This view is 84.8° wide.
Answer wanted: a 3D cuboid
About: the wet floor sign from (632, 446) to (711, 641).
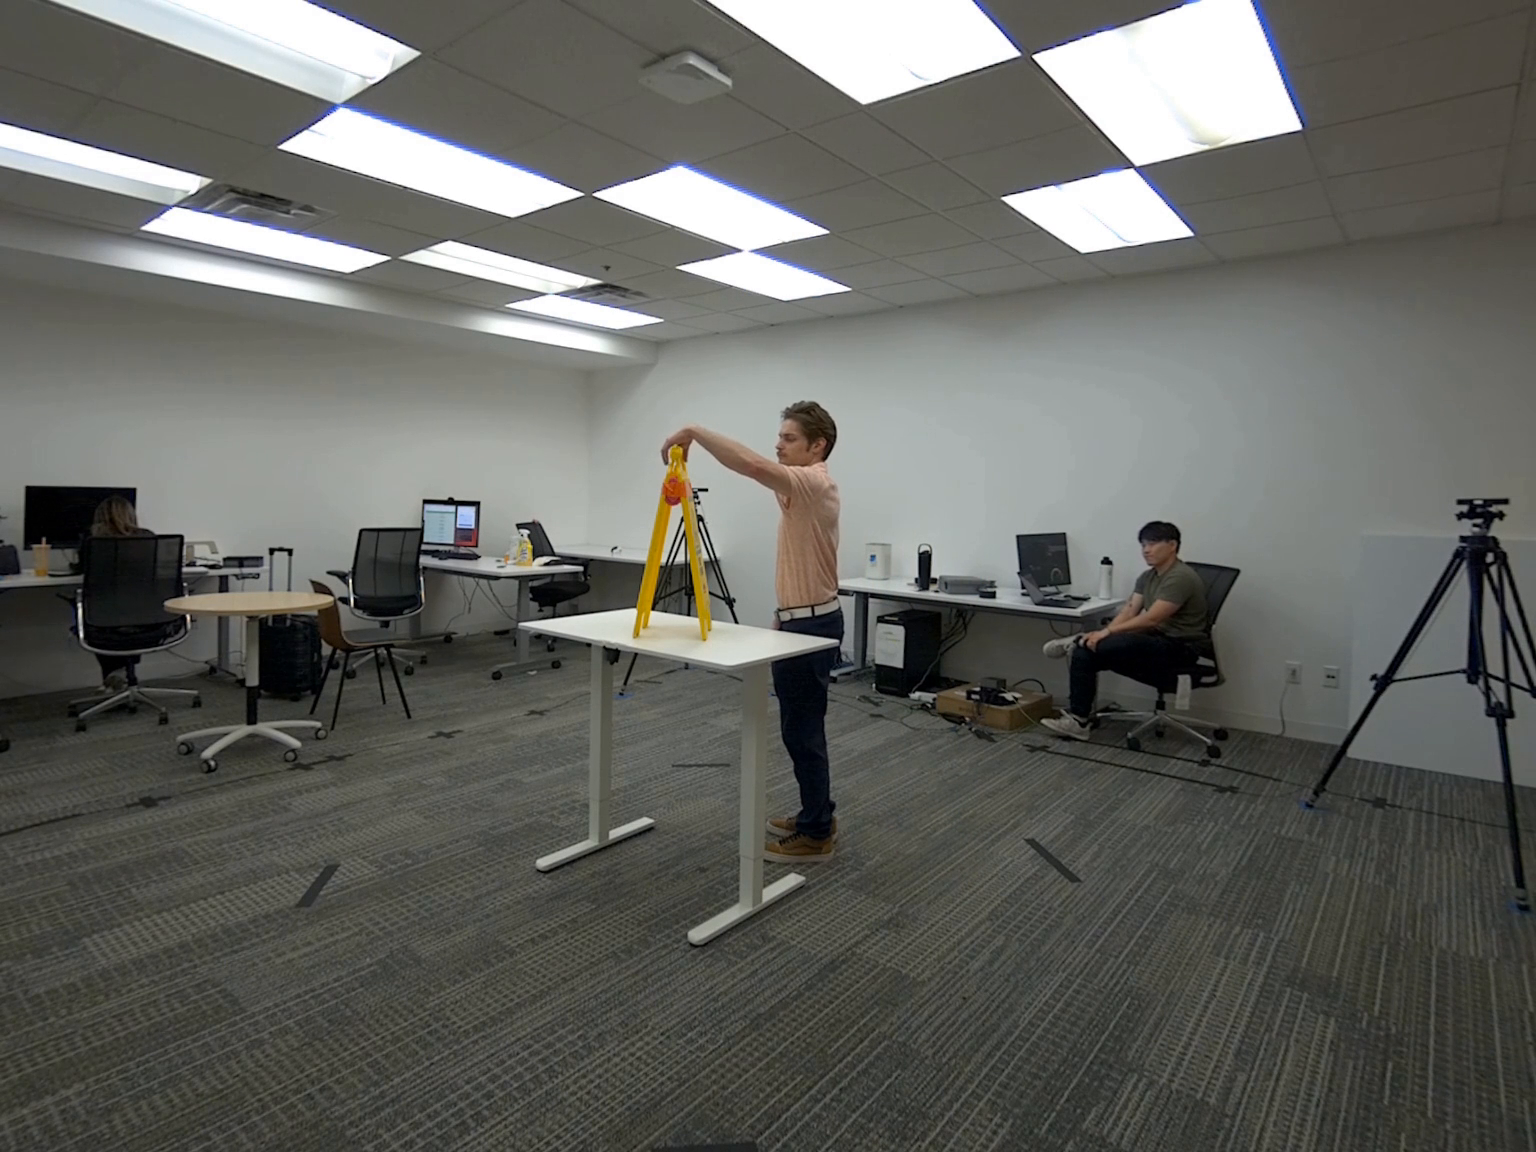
[{"bbox_3d":[-0.329,-0.125,2.966,0.290,0.644,0.283,2,3,-1],"label":"wet floor sign"}]
